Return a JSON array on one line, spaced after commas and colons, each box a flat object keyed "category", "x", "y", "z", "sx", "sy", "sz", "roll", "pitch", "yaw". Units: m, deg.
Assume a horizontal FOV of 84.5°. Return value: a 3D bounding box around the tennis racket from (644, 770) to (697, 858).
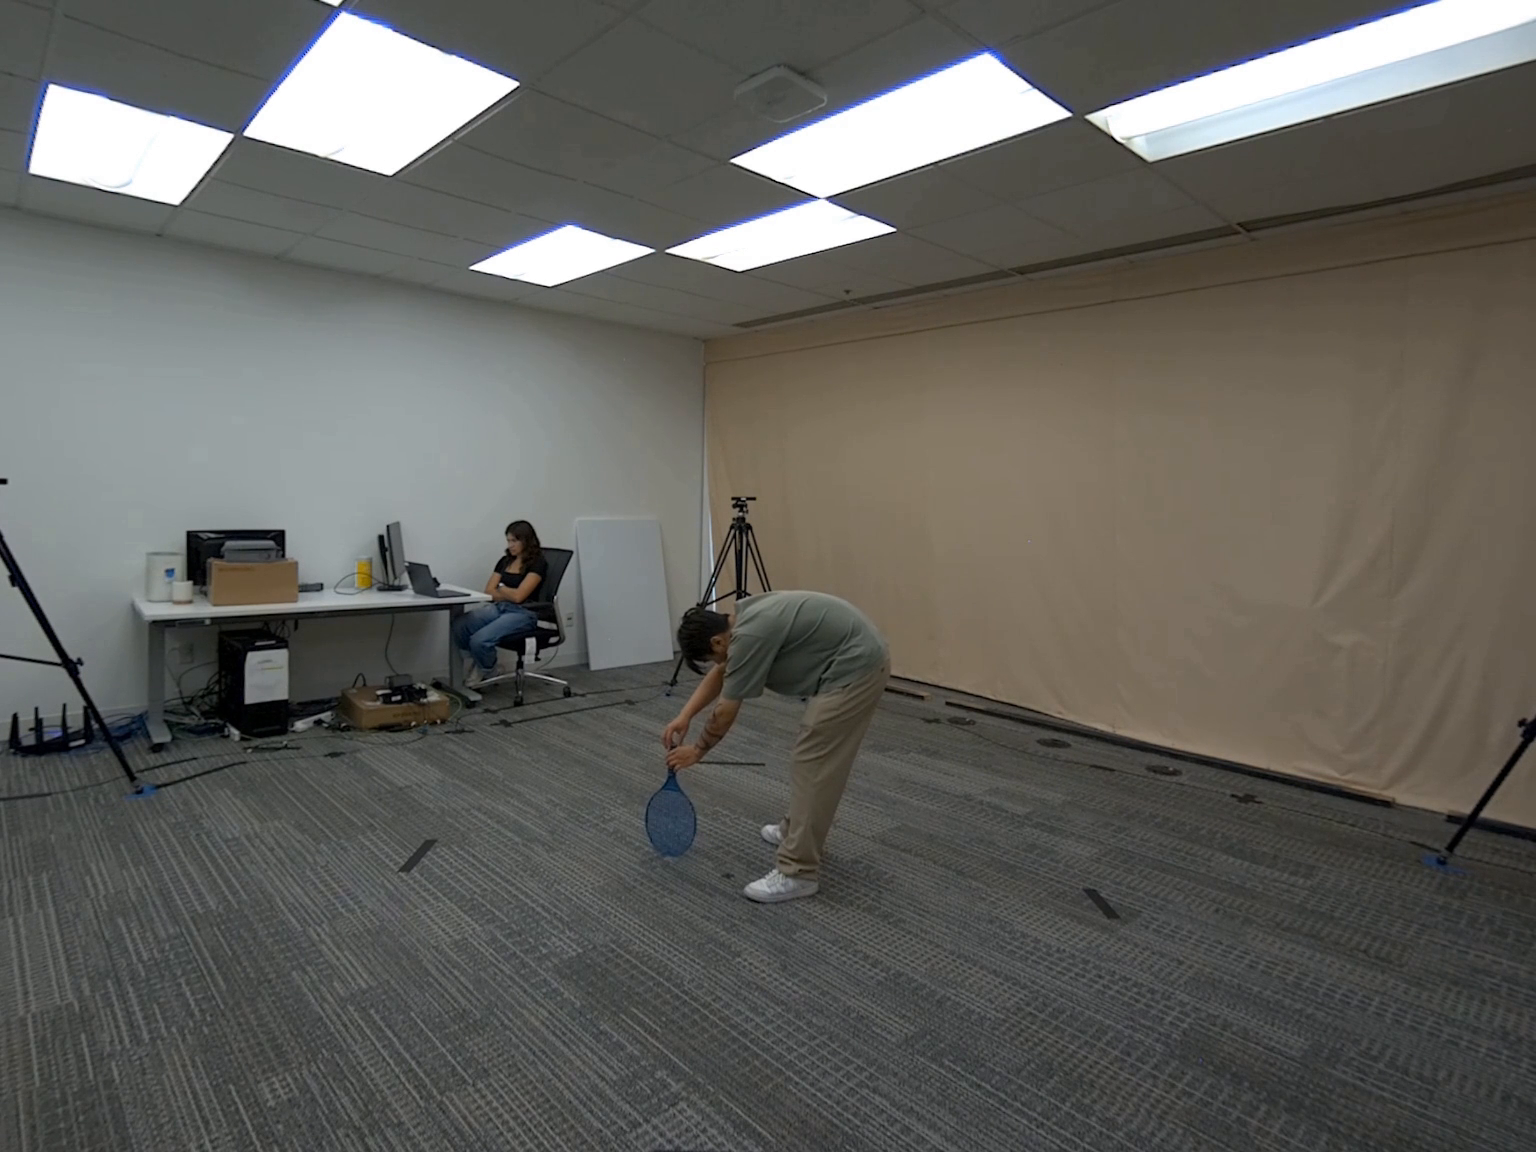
[{"category": "tennis racket", "x": -0.385, "y": 0.874, "z": 3.264, "sx": 0.217, "sy": 0.433, "sz": 0.031, "roll": 1, "pitch": 0, "yaw": 19}]
